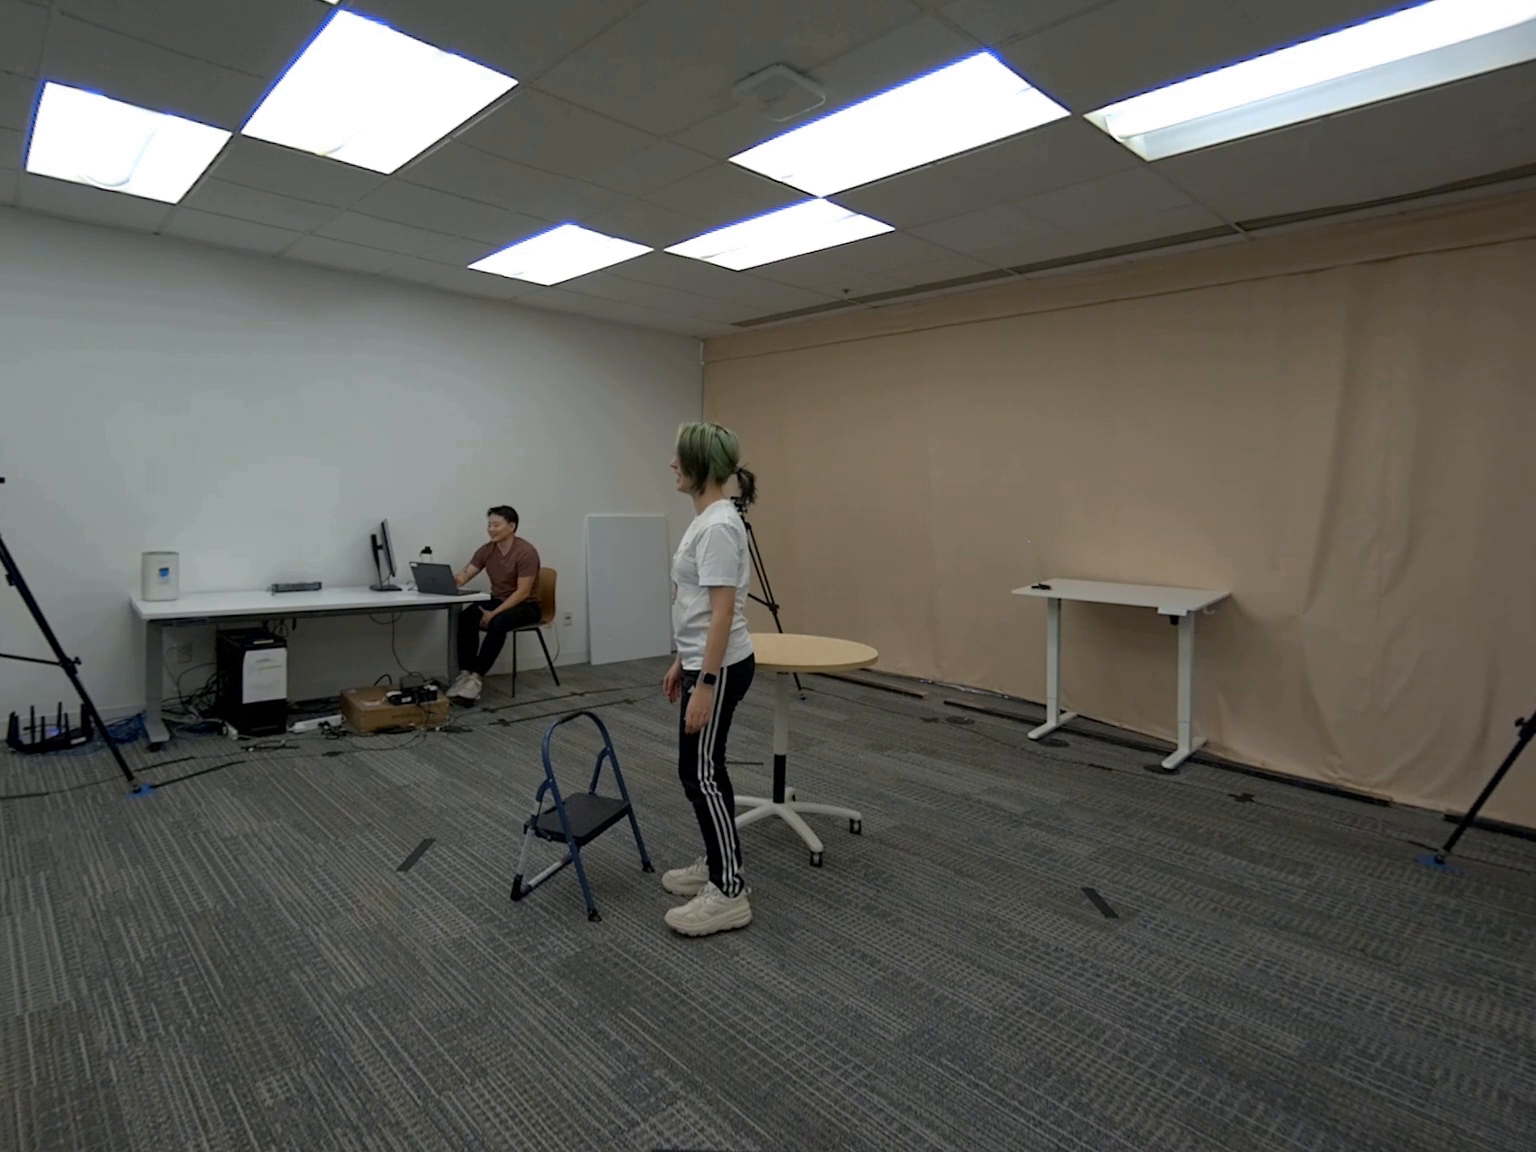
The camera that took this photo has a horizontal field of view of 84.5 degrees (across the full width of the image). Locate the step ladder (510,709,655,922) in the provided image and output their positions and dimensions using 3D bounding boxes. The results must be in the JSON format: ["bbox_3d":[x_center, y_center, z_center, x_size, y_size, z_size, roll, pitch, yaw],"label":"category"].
[{"bbox_3d":[-0.653,0.805,2.987,0.355,0.604,0.425,3,4,19],"label":"step ladder"}]
